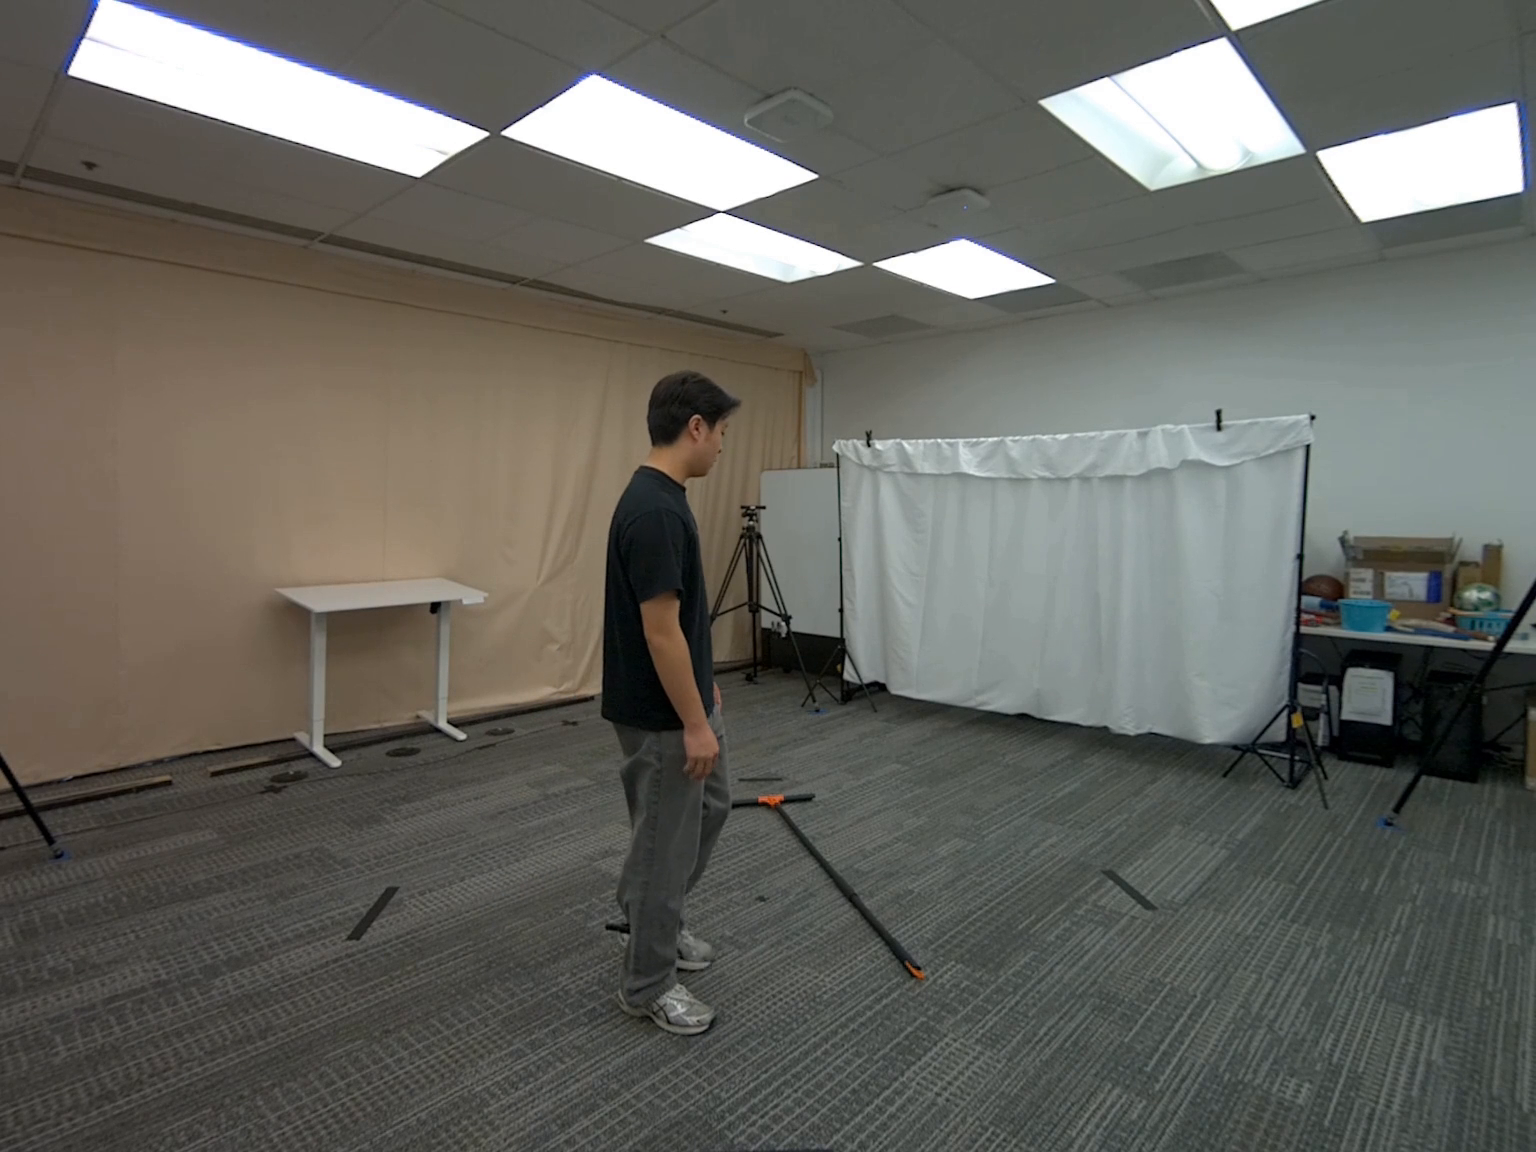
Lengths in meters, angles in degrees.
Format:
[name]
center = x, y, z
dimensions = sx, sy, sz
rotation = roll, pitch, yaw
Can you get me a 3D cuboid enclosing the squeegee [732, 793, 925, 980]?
[squeegee]
center = 0.227, 1.083, 3.196
dimensions = 0.430, 0.053, 1.567
rotation = -1, 5, -17
